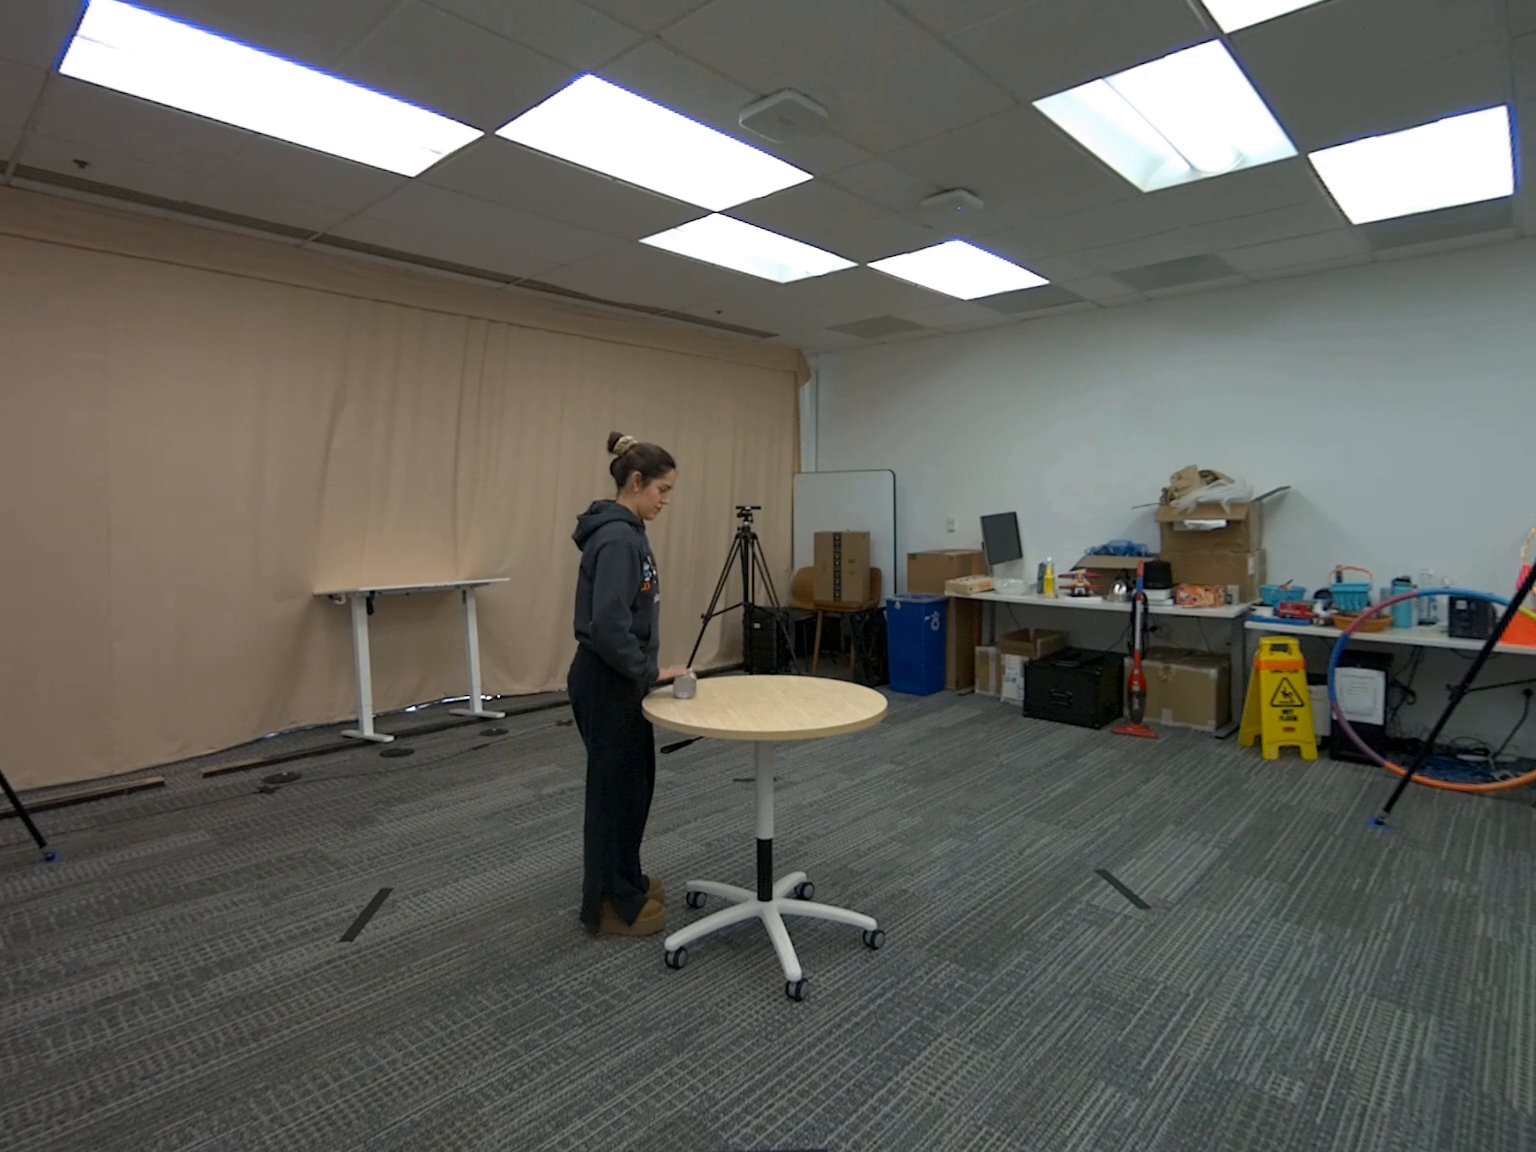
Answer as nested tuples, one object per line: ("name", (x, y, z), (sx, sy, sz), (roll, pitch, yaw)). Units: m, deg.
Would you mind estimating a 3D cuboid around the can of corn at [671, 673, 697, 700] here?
("can of corn", (-0.252, 0.354, 2.716), (0.074, 0.074, 0.111), (0, 3, -2))
